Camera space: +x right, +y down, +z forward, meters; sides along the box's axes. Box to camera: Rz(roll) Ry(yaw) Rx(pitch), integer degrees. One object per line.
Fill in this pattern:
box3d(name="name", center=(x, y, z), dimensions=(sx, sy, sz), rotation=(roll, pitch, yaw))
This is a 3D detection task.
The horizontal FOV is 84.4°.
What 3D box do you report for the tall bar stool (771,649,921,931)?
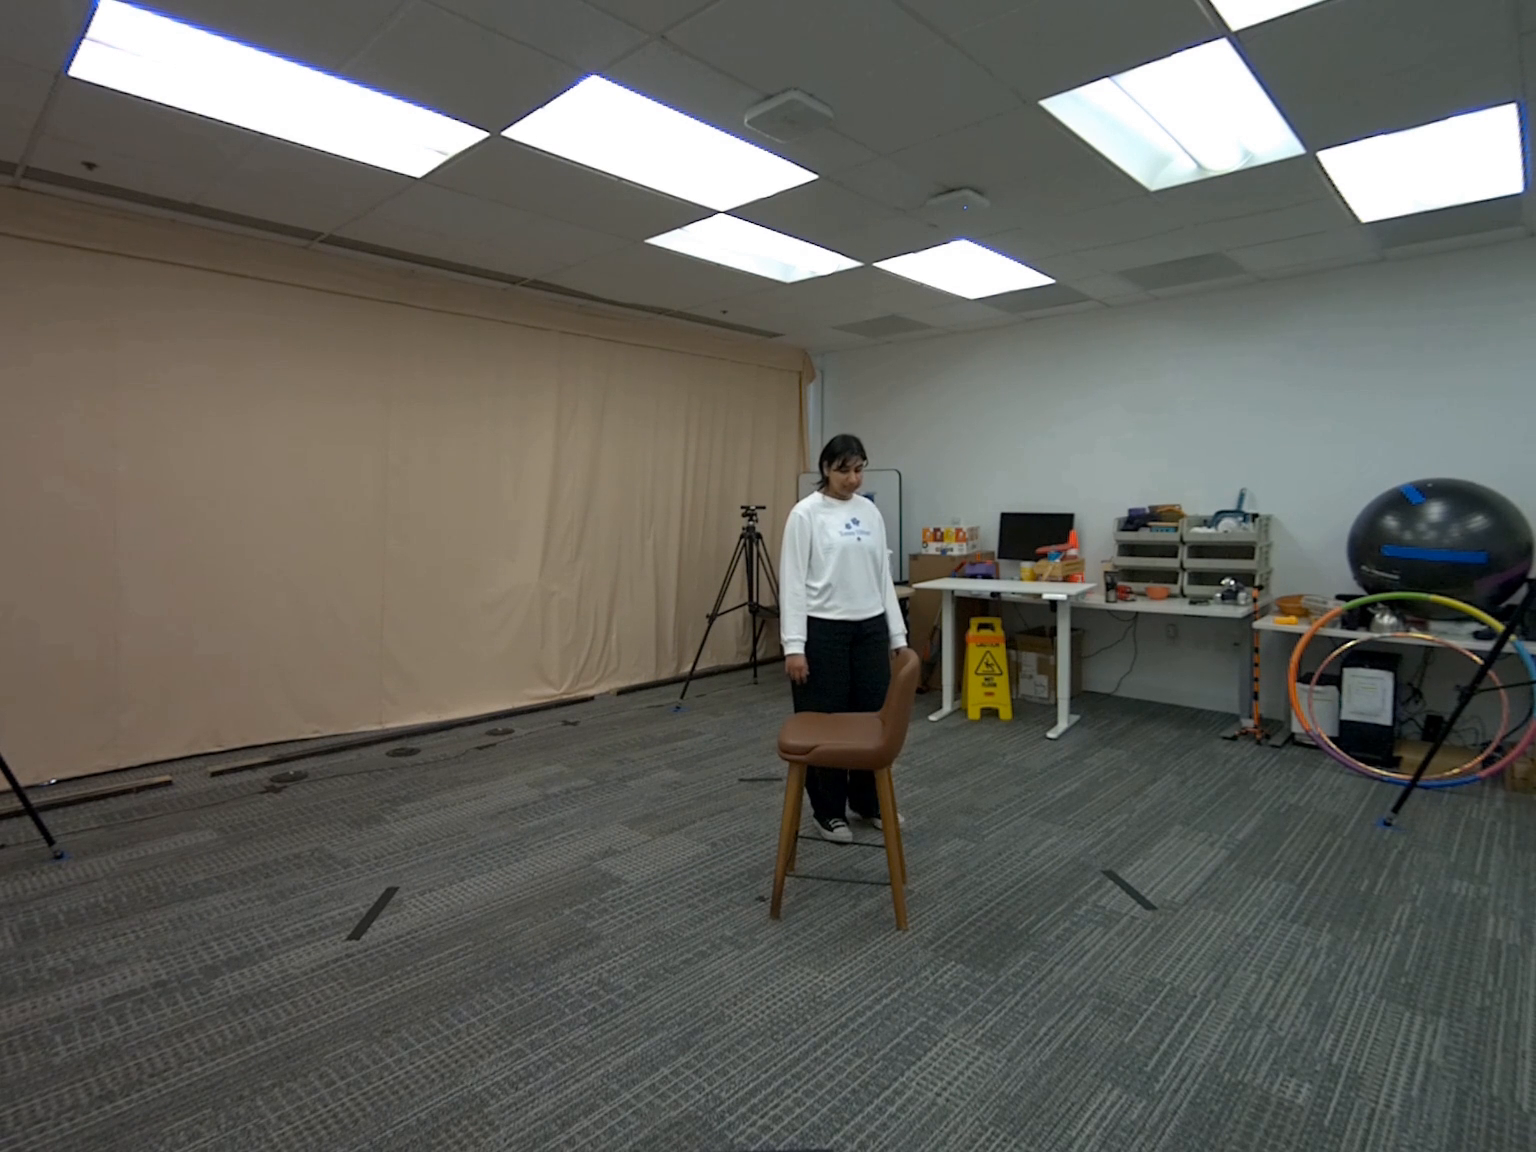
box3d(name="tall bar stool", center=(0.268, 0.710, 2.966), dimensions=(0.474, 0.888, 0.451), rotation=(2, 4, 12))
